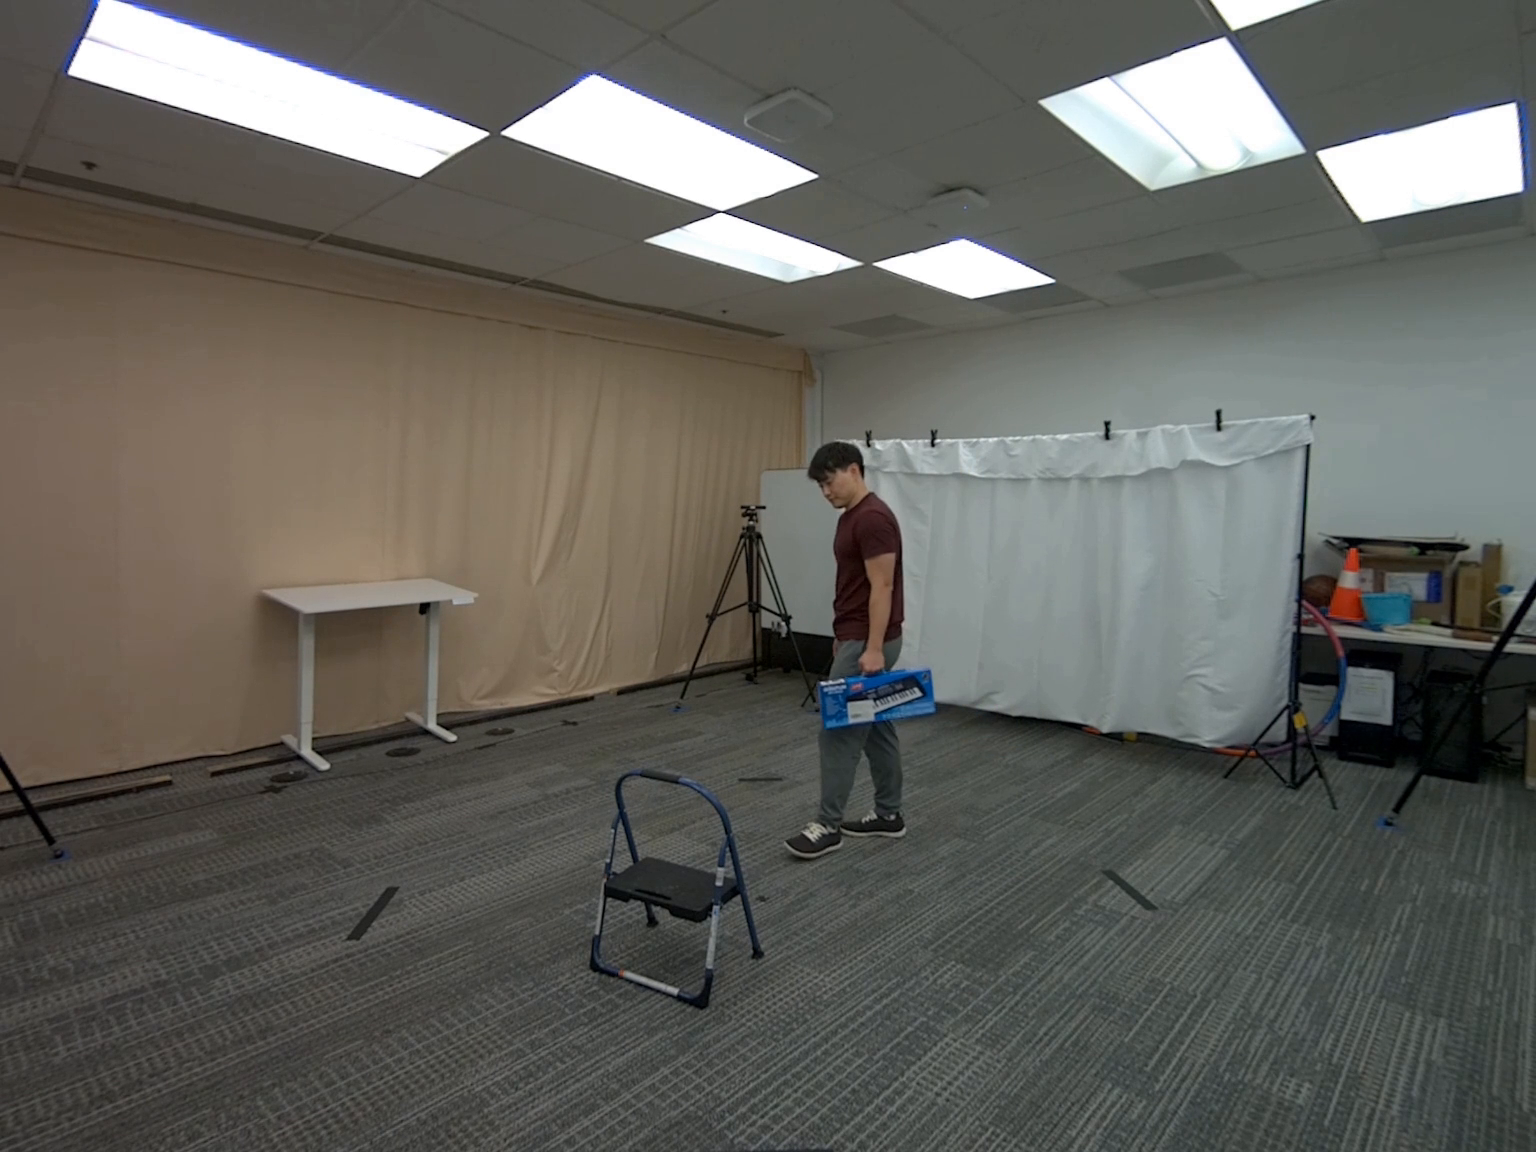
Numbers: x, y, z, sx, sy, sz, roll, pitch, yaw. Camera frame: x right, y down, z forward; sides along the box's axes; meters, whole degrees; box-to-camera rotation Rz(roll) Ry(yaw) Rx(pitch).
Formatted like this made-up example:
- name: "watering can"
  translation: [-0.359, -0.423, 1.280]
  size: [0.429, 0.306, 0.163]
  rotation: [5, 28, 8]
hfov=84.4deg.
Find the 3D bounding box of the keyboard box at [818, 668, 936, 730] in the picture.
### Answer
- name: "keyboard box"
  translation: [0.415, 0.467, 3.250]
  size: [0.435, 0.175, 0.059]
  rotation: [-9, 5, -3]
